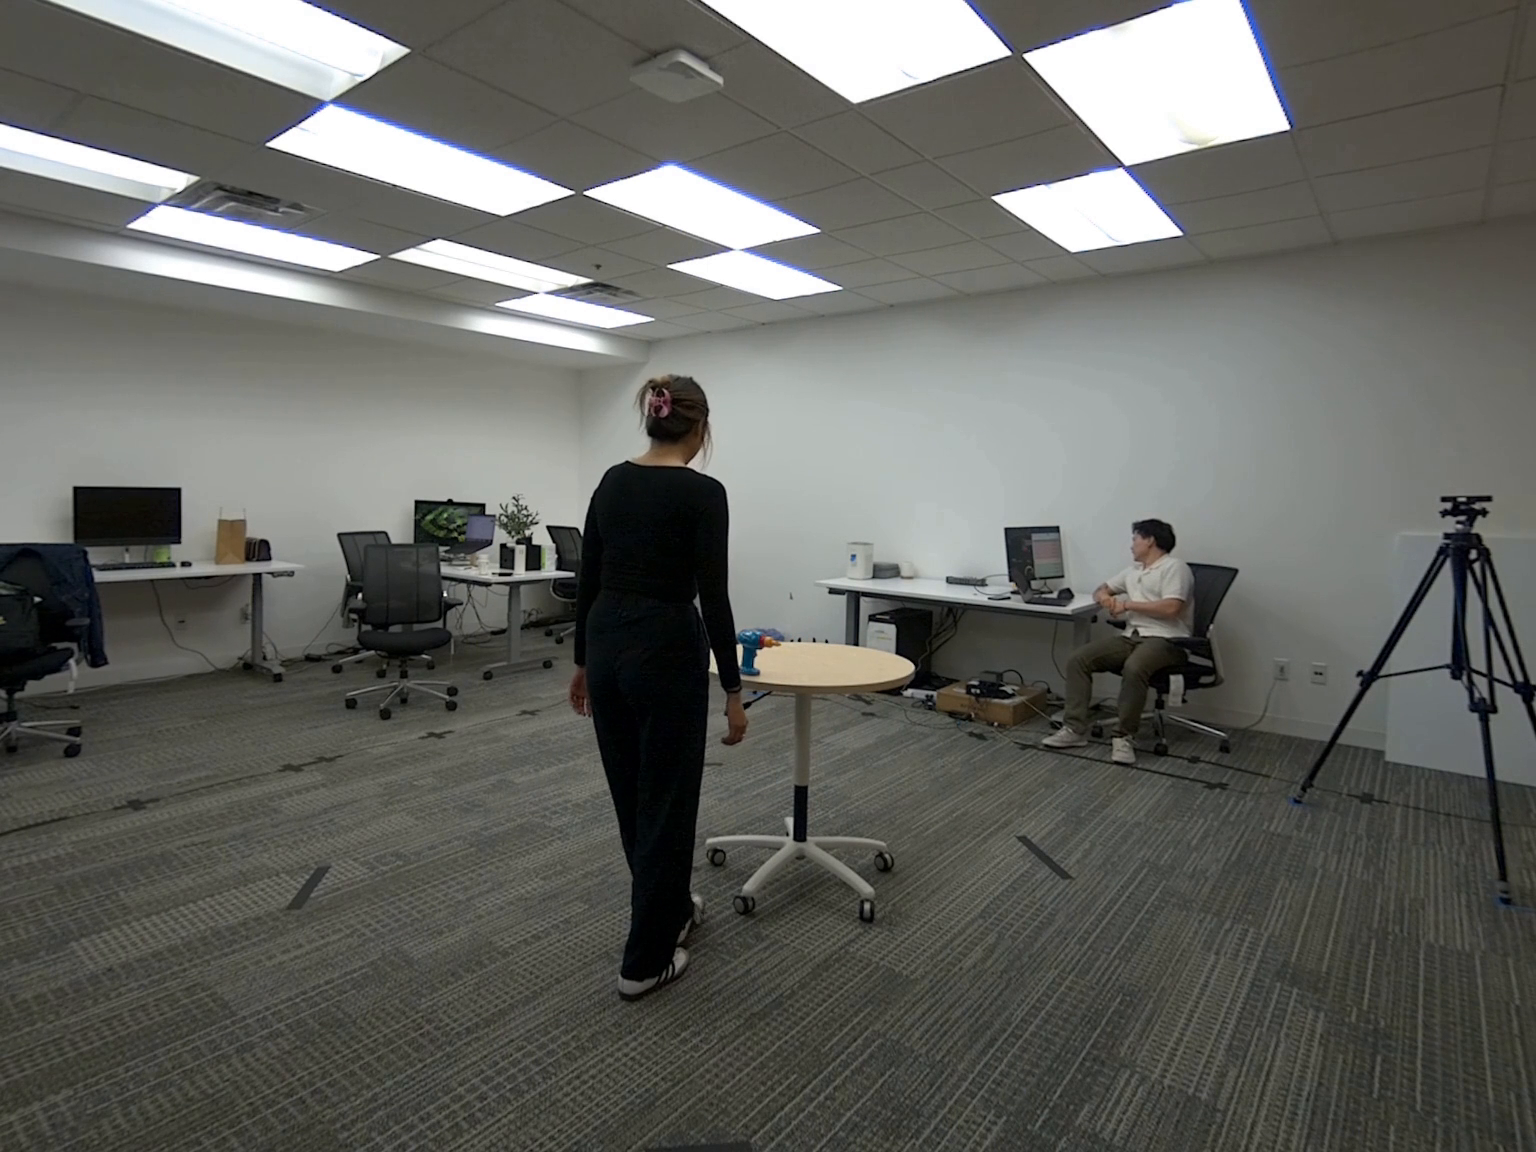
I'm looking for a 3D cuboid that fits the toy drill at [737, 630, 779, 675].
[{"bbox_3d":[-0.039,0.246,2.761,0.175,0.146,0.059,2,3,35],"label":"toy drill"}]
